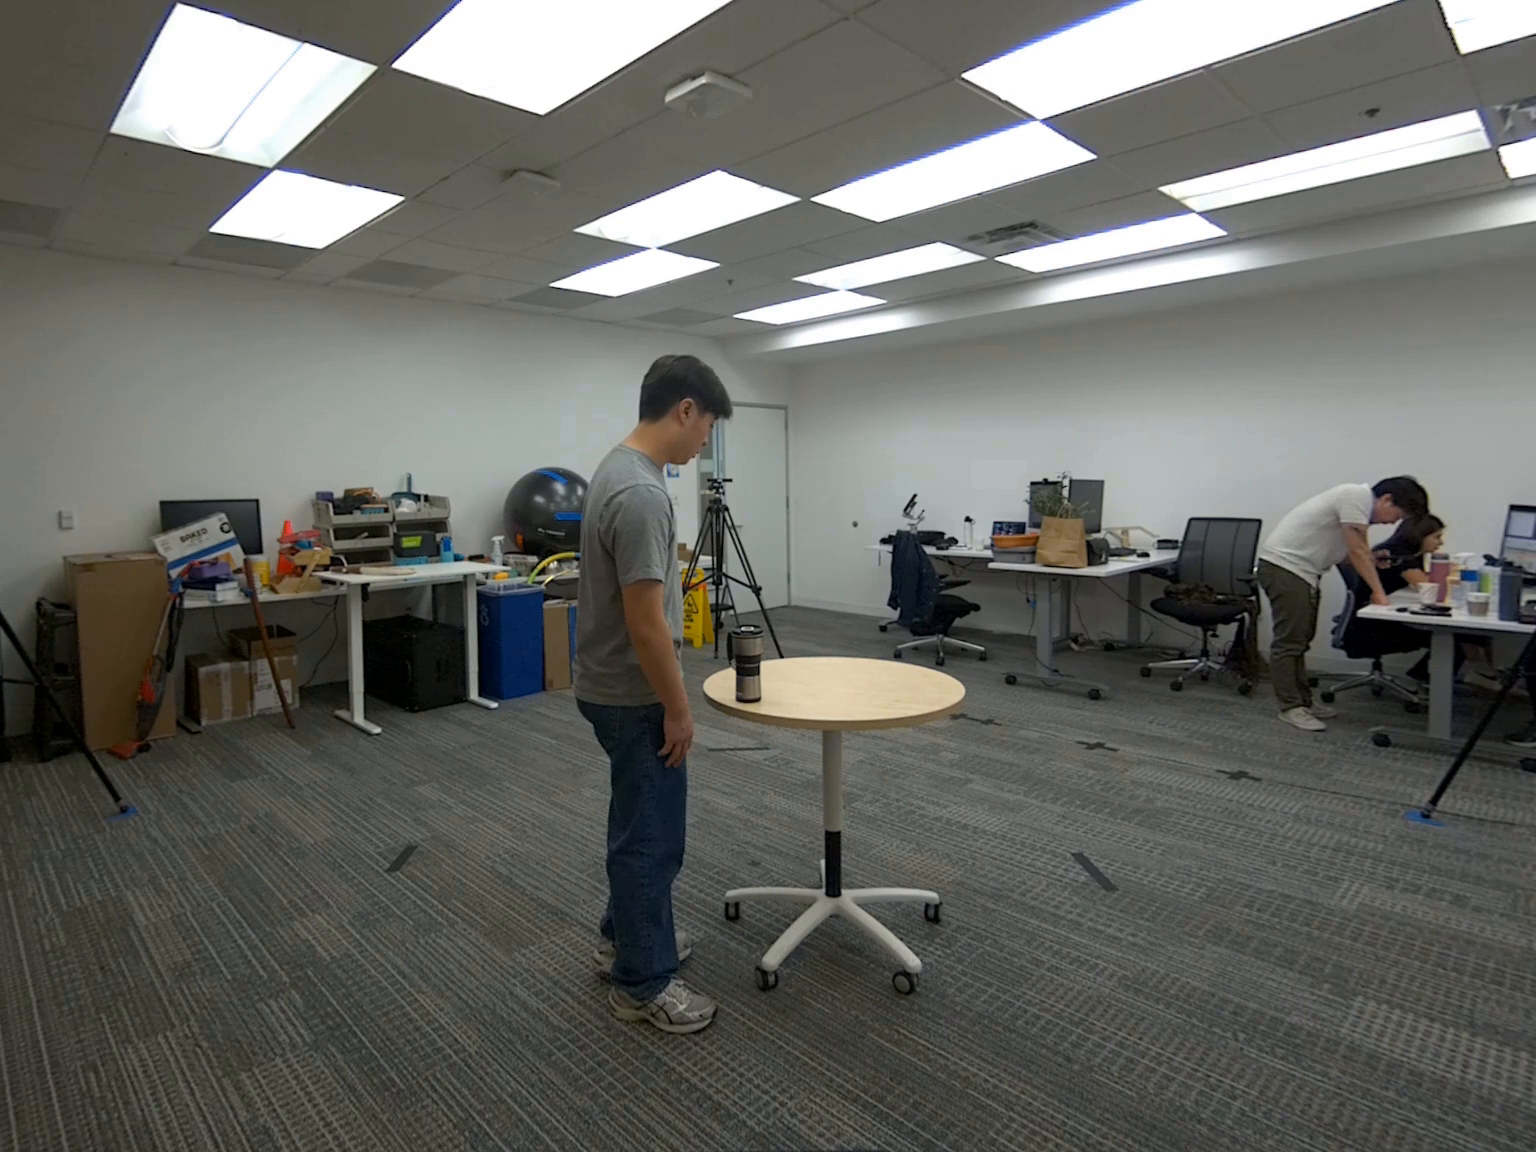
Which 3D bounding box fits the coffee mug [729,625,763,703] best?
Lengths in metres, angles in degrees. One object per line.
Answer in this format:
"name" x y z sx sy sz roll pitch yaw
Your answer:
"coffee mug" -0.061 0.245 2.376 0.086 0.200 0.125 -7 14 -21
